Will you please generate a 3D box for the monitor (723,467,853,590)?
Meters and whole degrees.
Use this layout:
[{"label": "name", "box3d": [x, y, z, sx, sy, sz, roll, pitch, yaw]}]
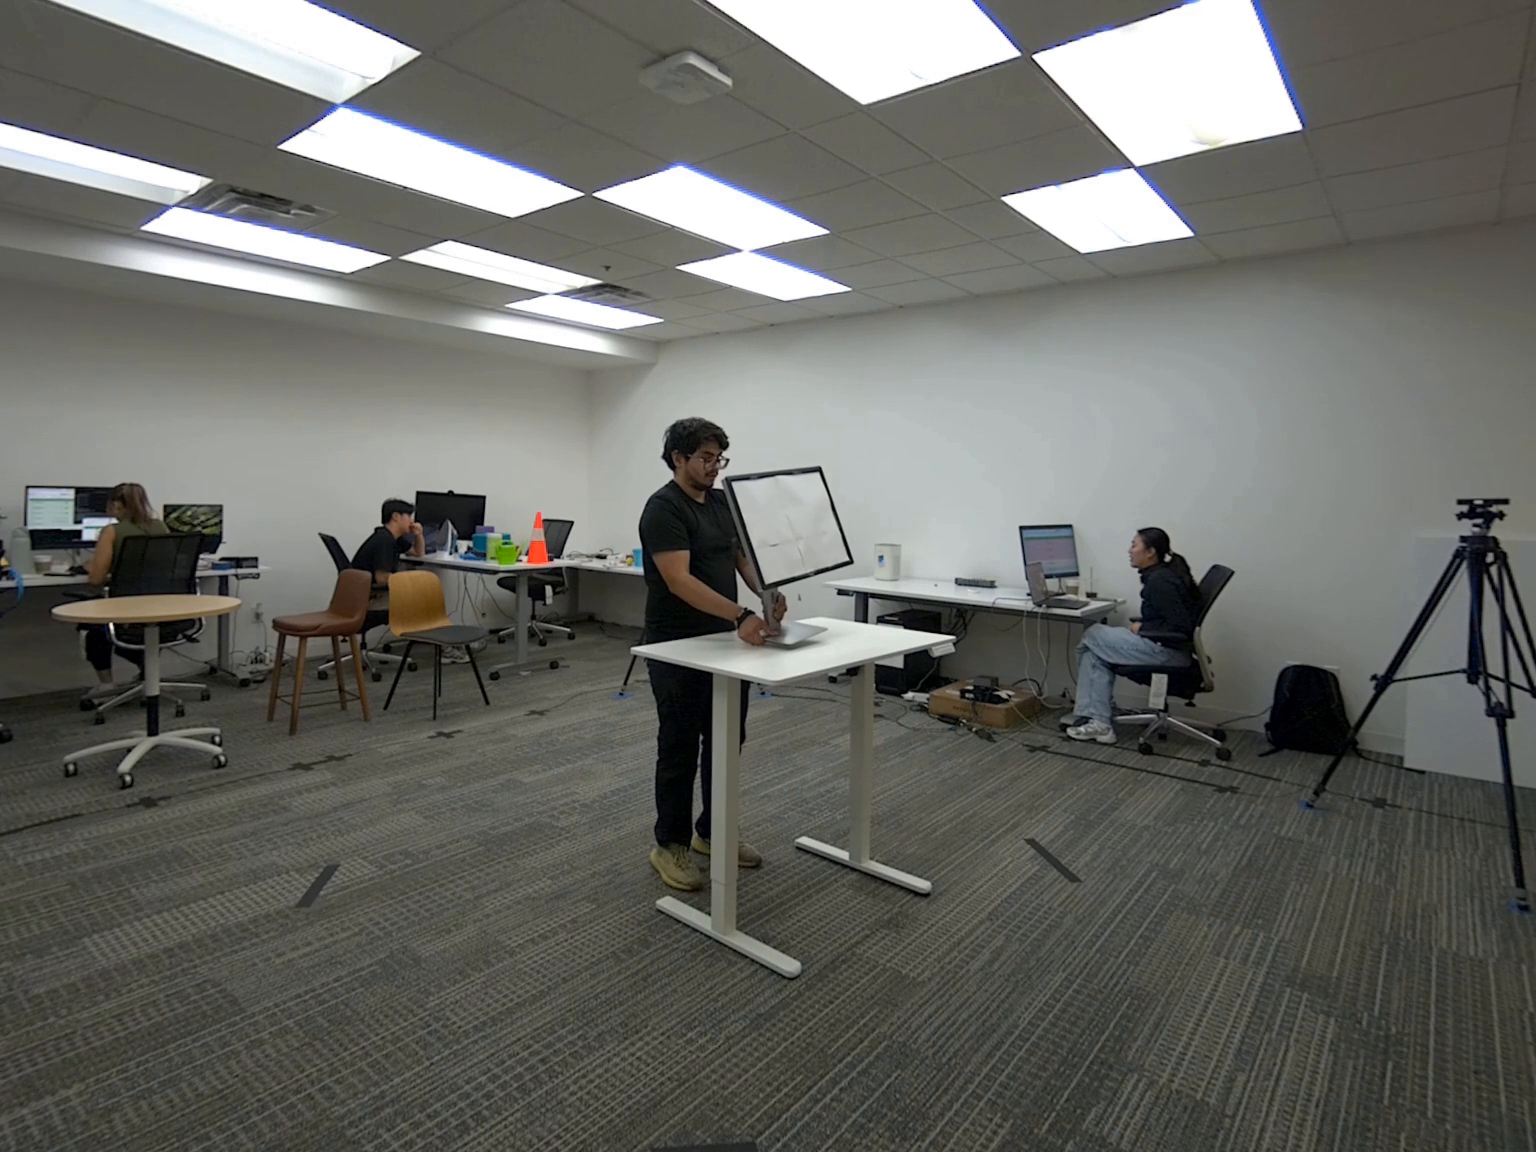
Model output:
[{"label": "monitor", "box3d": [0.030, -0.071, 2.811, 0.215, 0.554, 0.552, -11, 1, 37]}]
